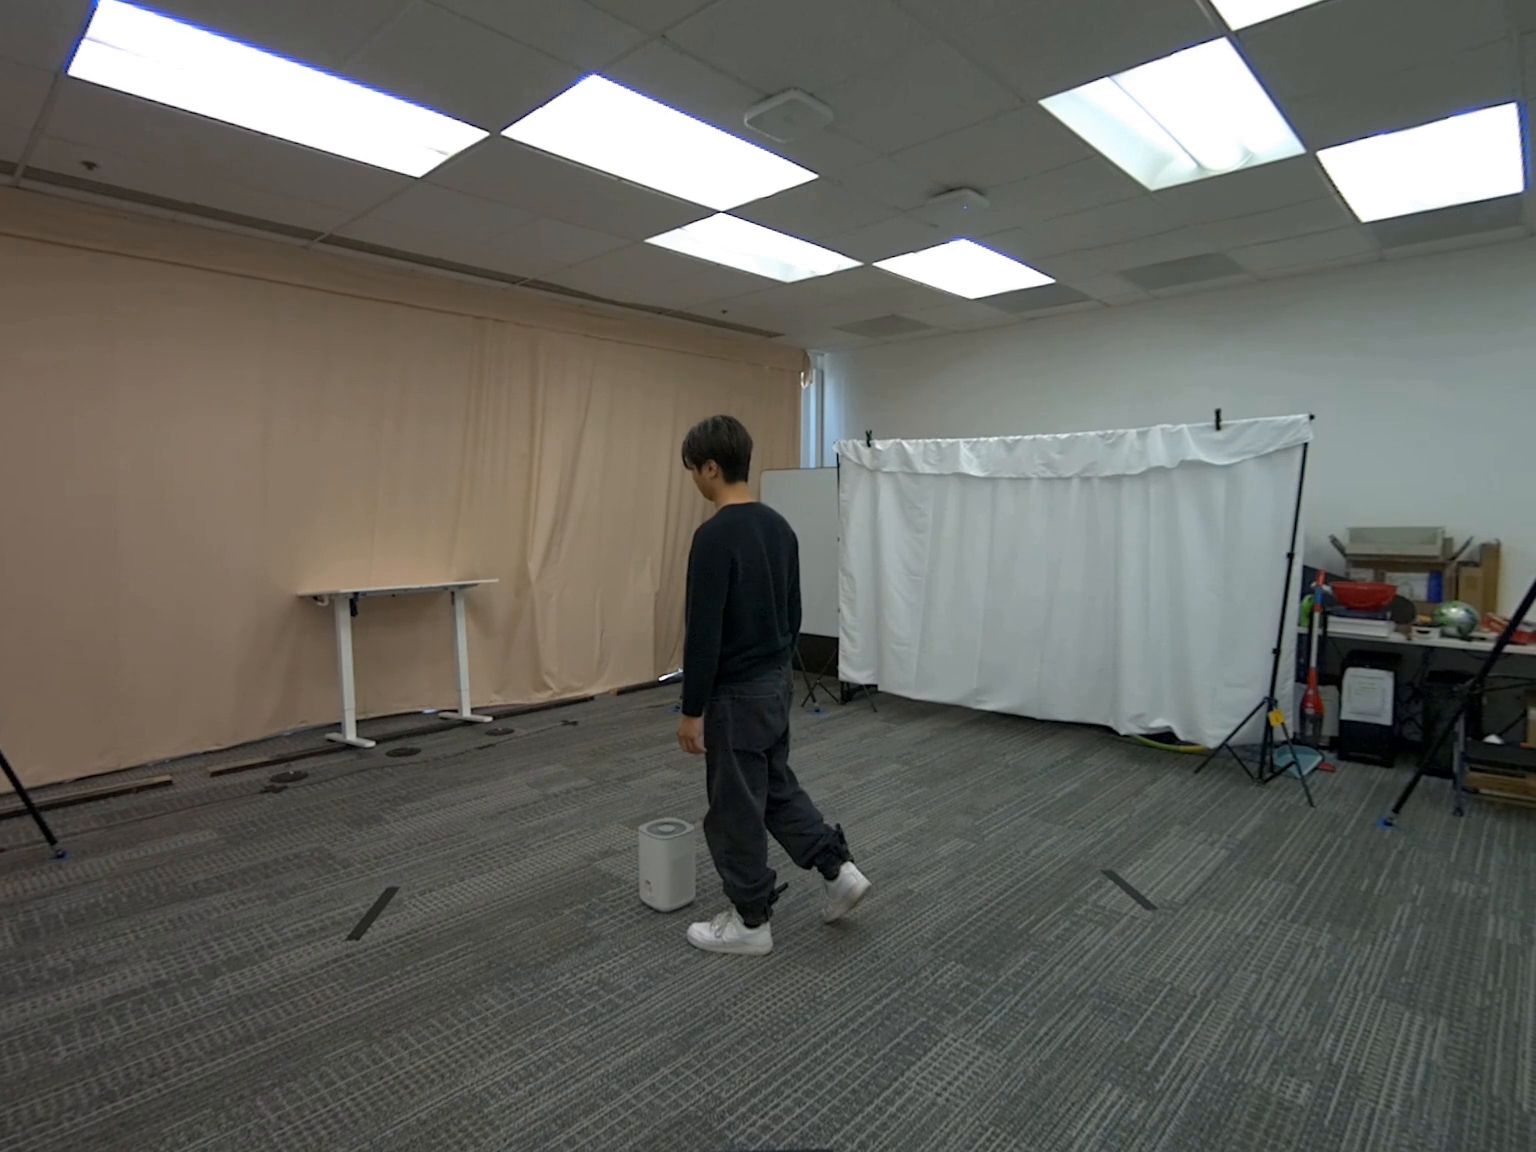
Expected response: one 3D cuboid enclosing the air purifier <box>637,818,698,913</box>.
[{"bbox_3d":[-0.356,1.018,2.954,0.166,0.265,0.177,-3,5,-44],"label":"air purifier"}]
